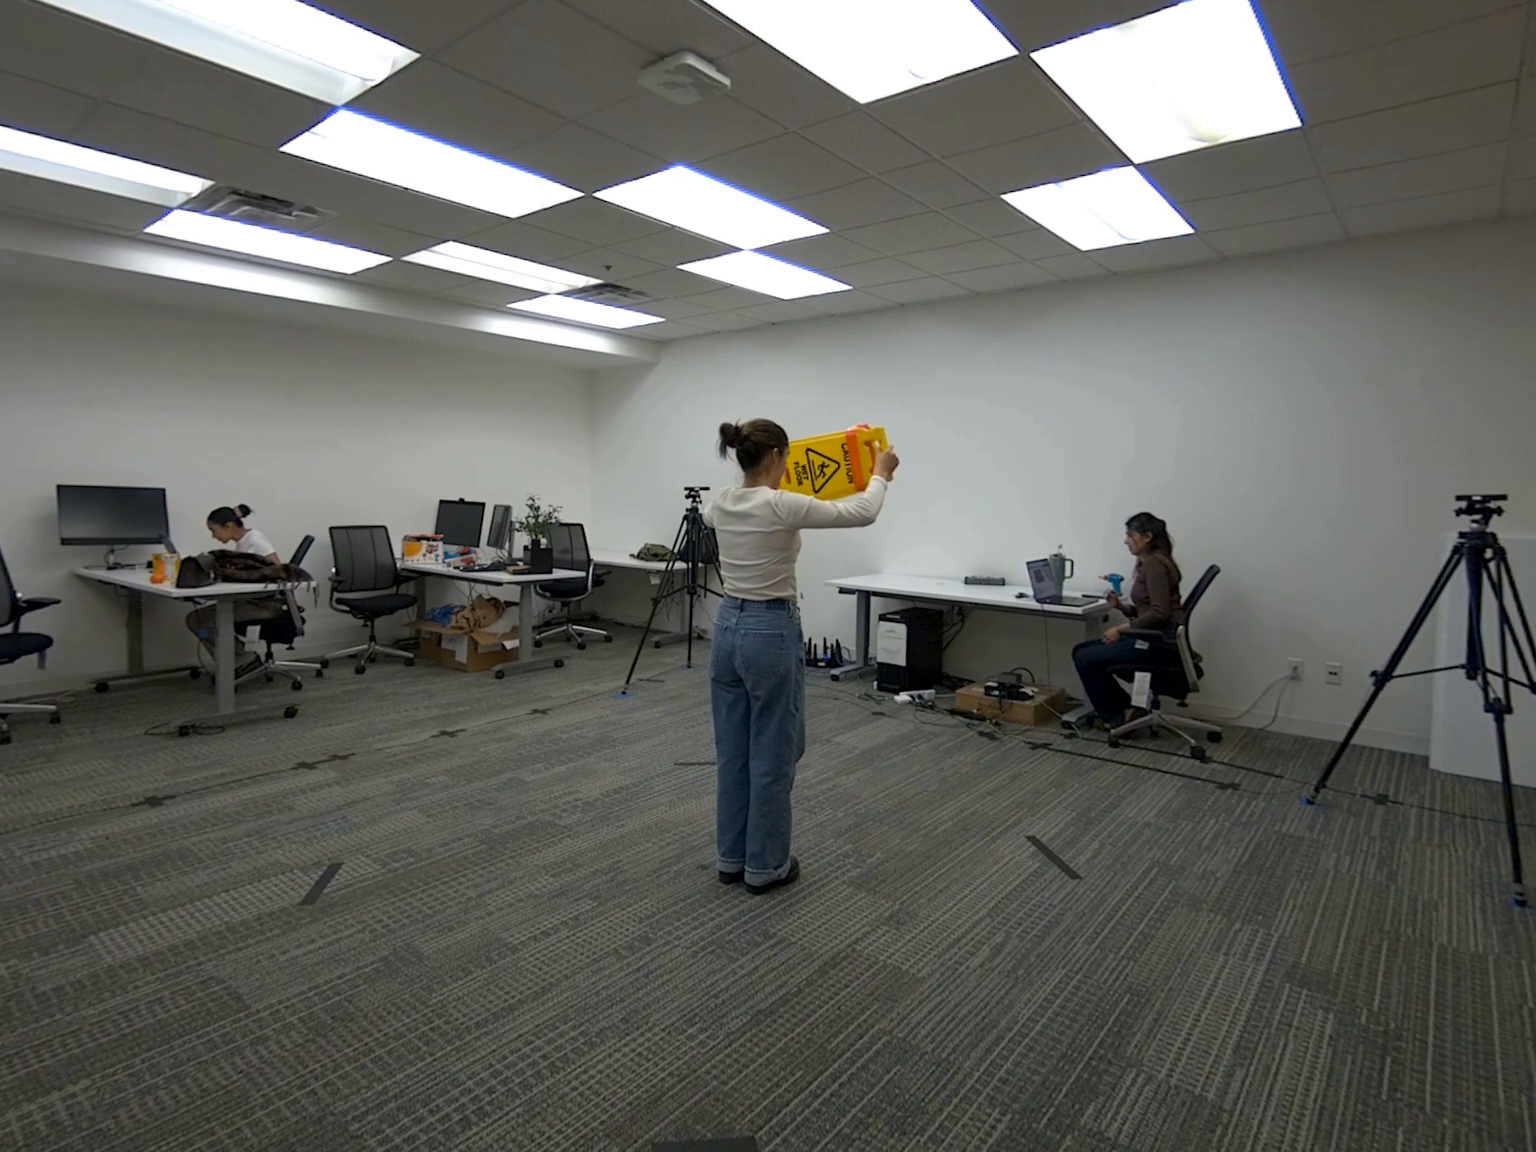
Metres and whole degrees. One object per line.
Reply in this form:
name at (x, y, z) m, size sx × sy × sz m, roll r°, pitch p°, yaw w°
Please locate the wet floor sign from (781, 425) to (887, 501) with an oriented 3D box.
wet floor sign at (0.254, -0.421, 3.279) m, size 0.283 × 0.281 × 0.662 m, roll -11°, pitch 4°, yaw -30°
